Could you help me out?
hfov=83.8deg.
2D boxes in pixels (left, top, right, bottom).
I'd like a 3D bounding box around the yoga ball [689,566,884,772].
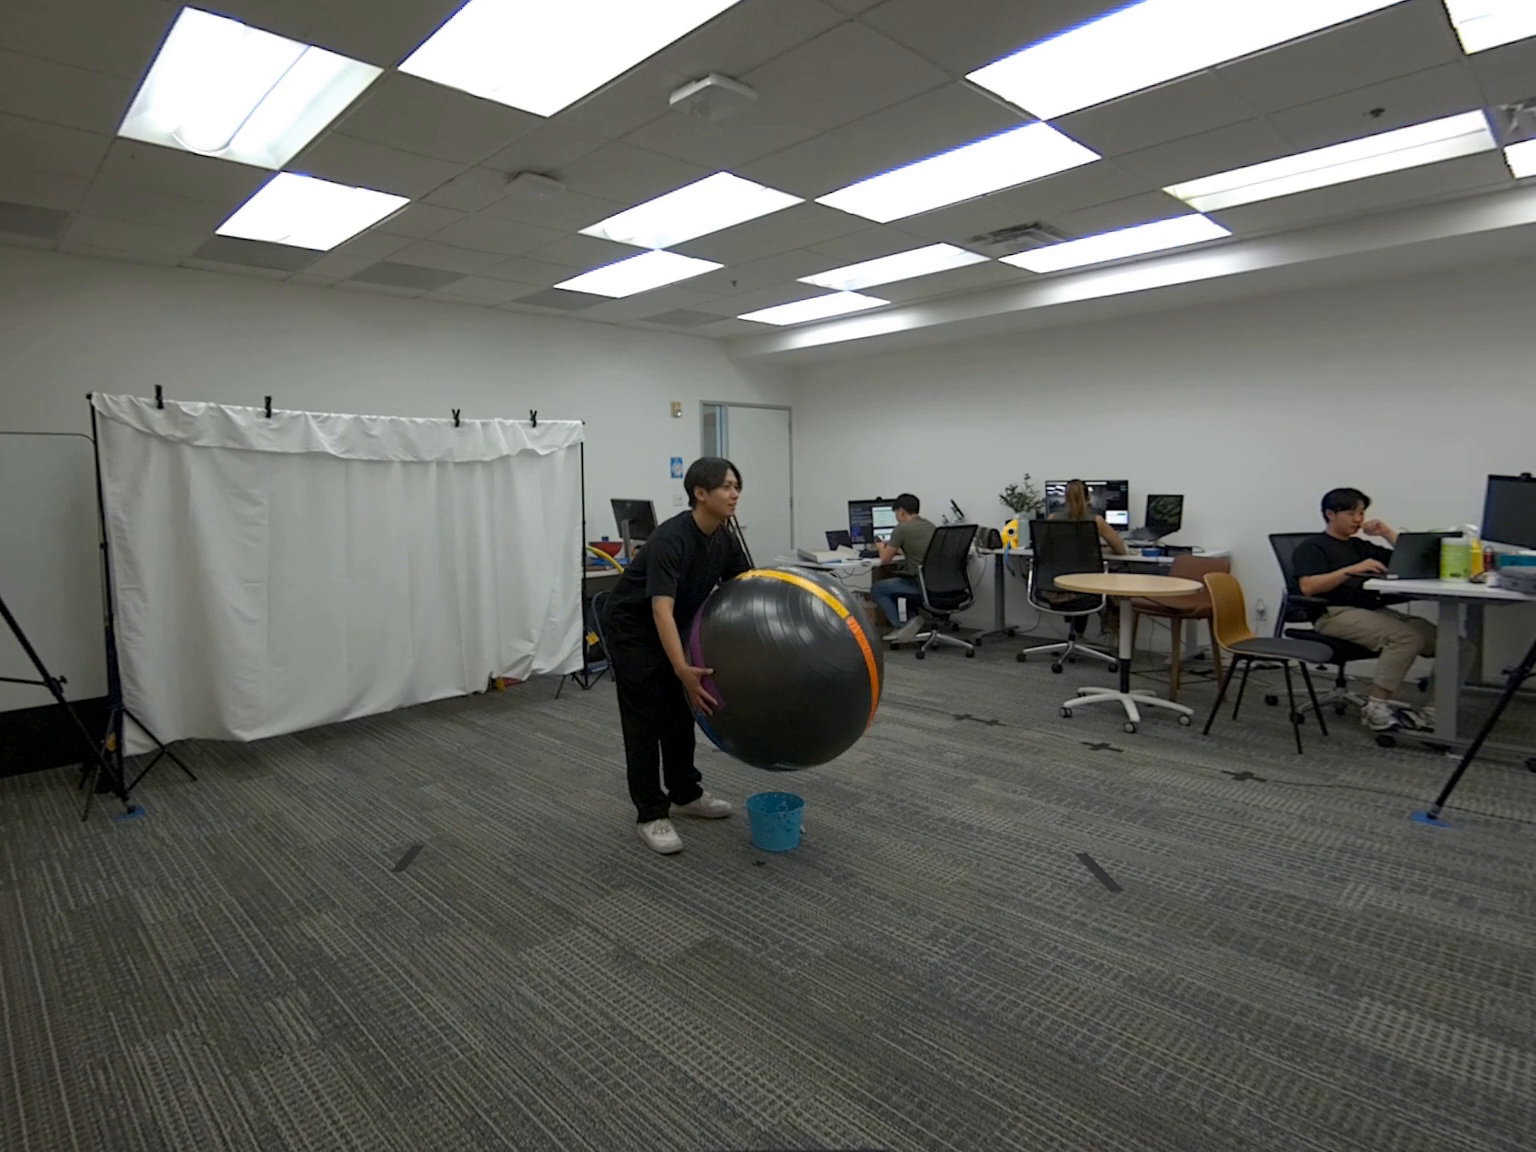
[{"bbox_3d":[0.057,0.337,3.202,0.757,0.755,0.762,-1,5,-2],"label":"yoga ball"}]
